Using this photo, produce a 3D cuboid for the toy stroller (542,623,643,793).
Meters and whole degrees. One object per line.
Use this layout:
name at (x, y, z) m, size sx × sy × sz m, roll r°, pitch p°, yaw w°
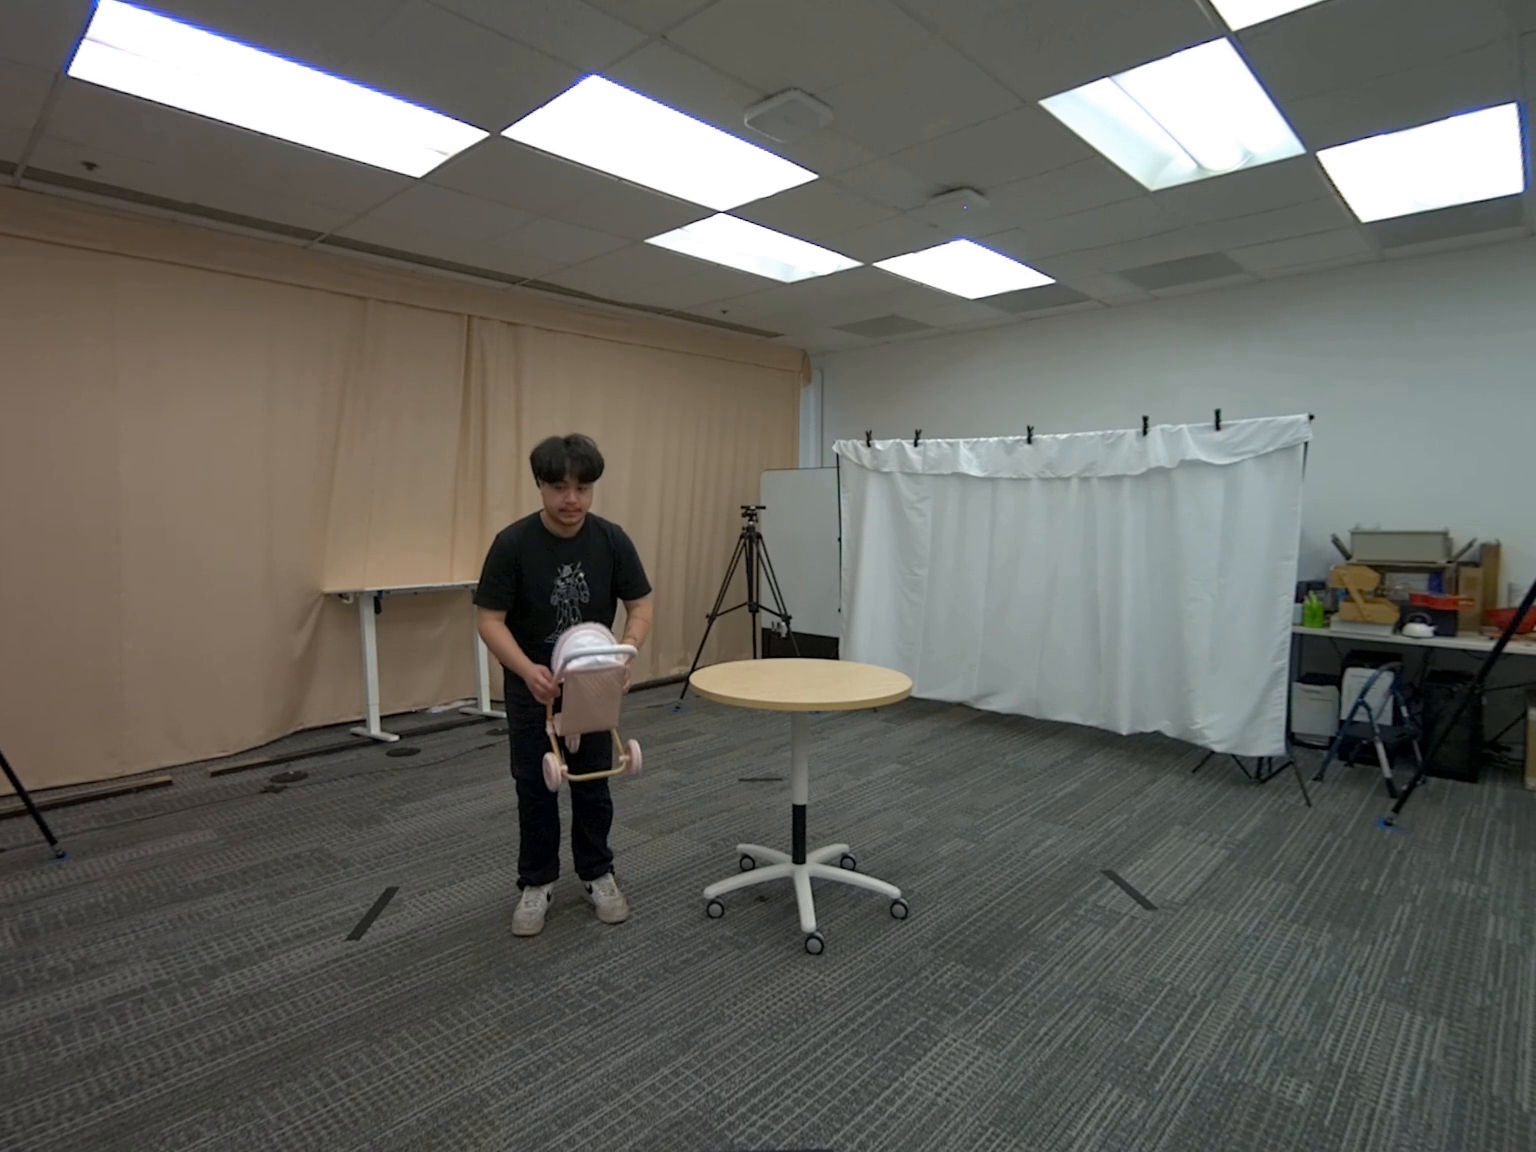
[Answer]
toy stroller at (-0.540, 0.382, 2.522) m, size 0.276 × 0.529 × 0.352 m, roll -2°, pitch 23°, yaw -21°
